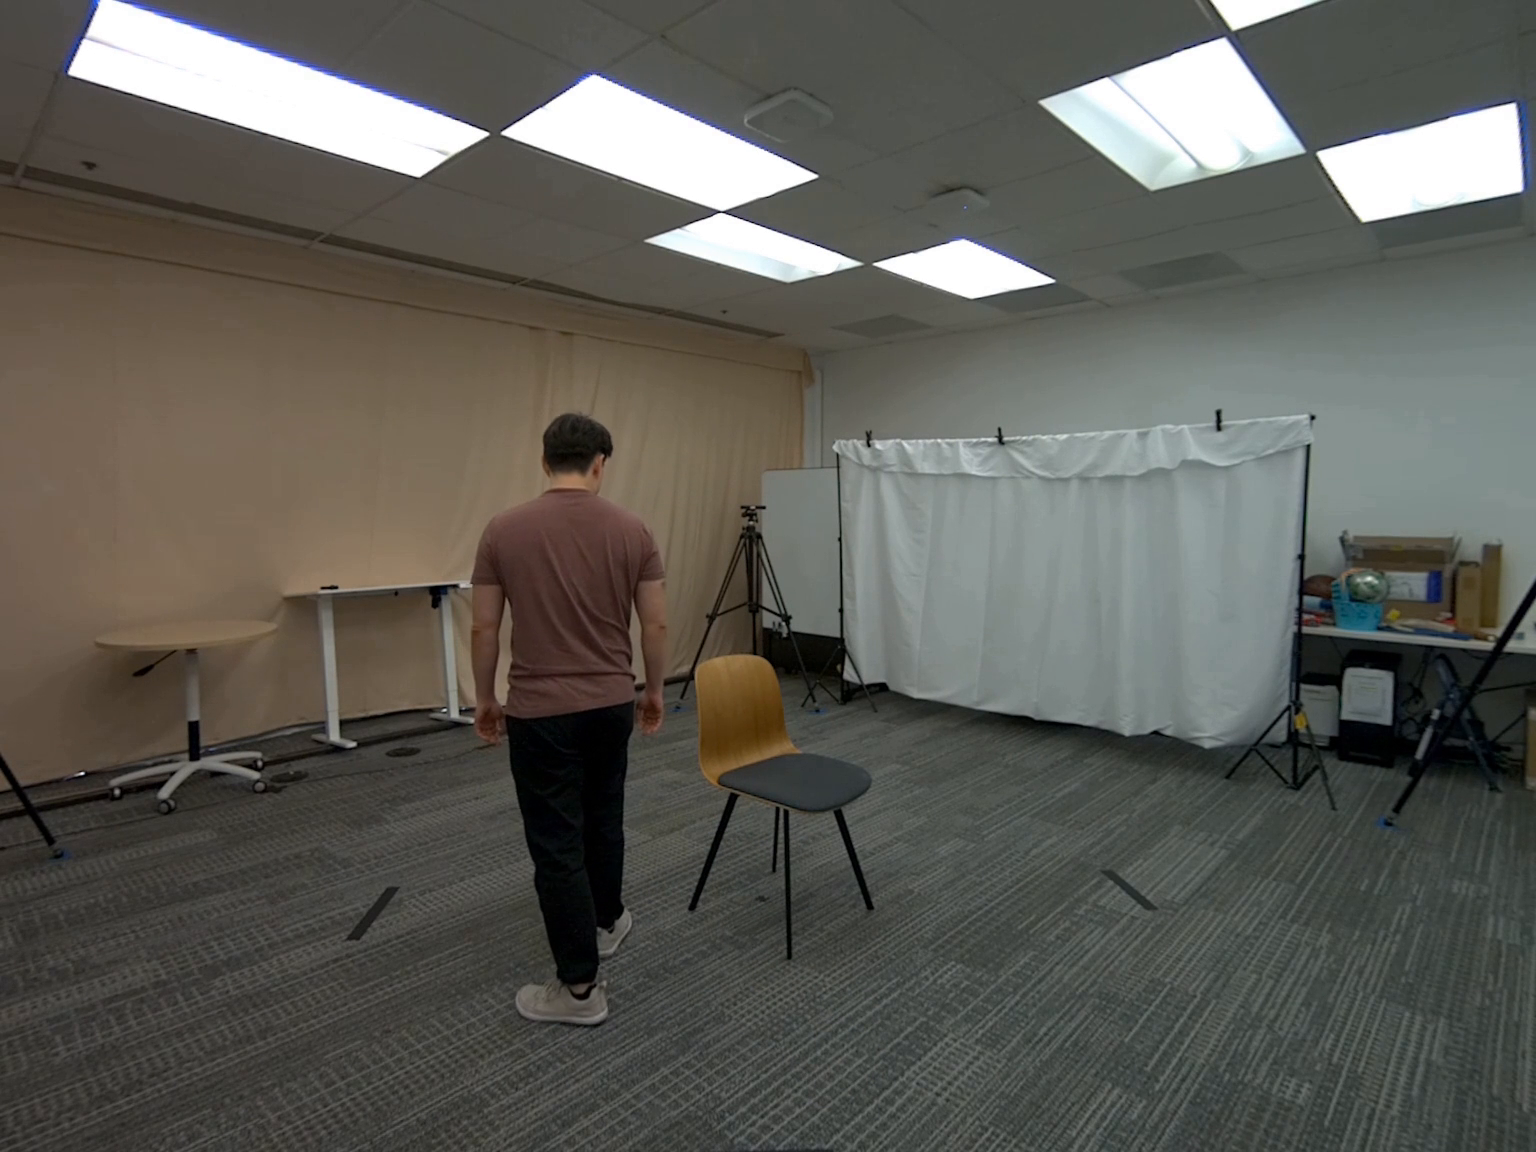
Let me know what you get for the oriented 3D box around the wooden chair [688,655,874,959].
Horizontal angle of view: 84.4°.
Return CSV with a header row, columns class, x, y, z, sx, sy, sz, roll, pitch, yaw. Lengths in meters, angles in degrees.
class,x,y,z,sx,sy,sz,roll,pitch,yaw
wooden chair,0.054,0.727,2.863,0.539,0.877,0.463,-3,1,43
